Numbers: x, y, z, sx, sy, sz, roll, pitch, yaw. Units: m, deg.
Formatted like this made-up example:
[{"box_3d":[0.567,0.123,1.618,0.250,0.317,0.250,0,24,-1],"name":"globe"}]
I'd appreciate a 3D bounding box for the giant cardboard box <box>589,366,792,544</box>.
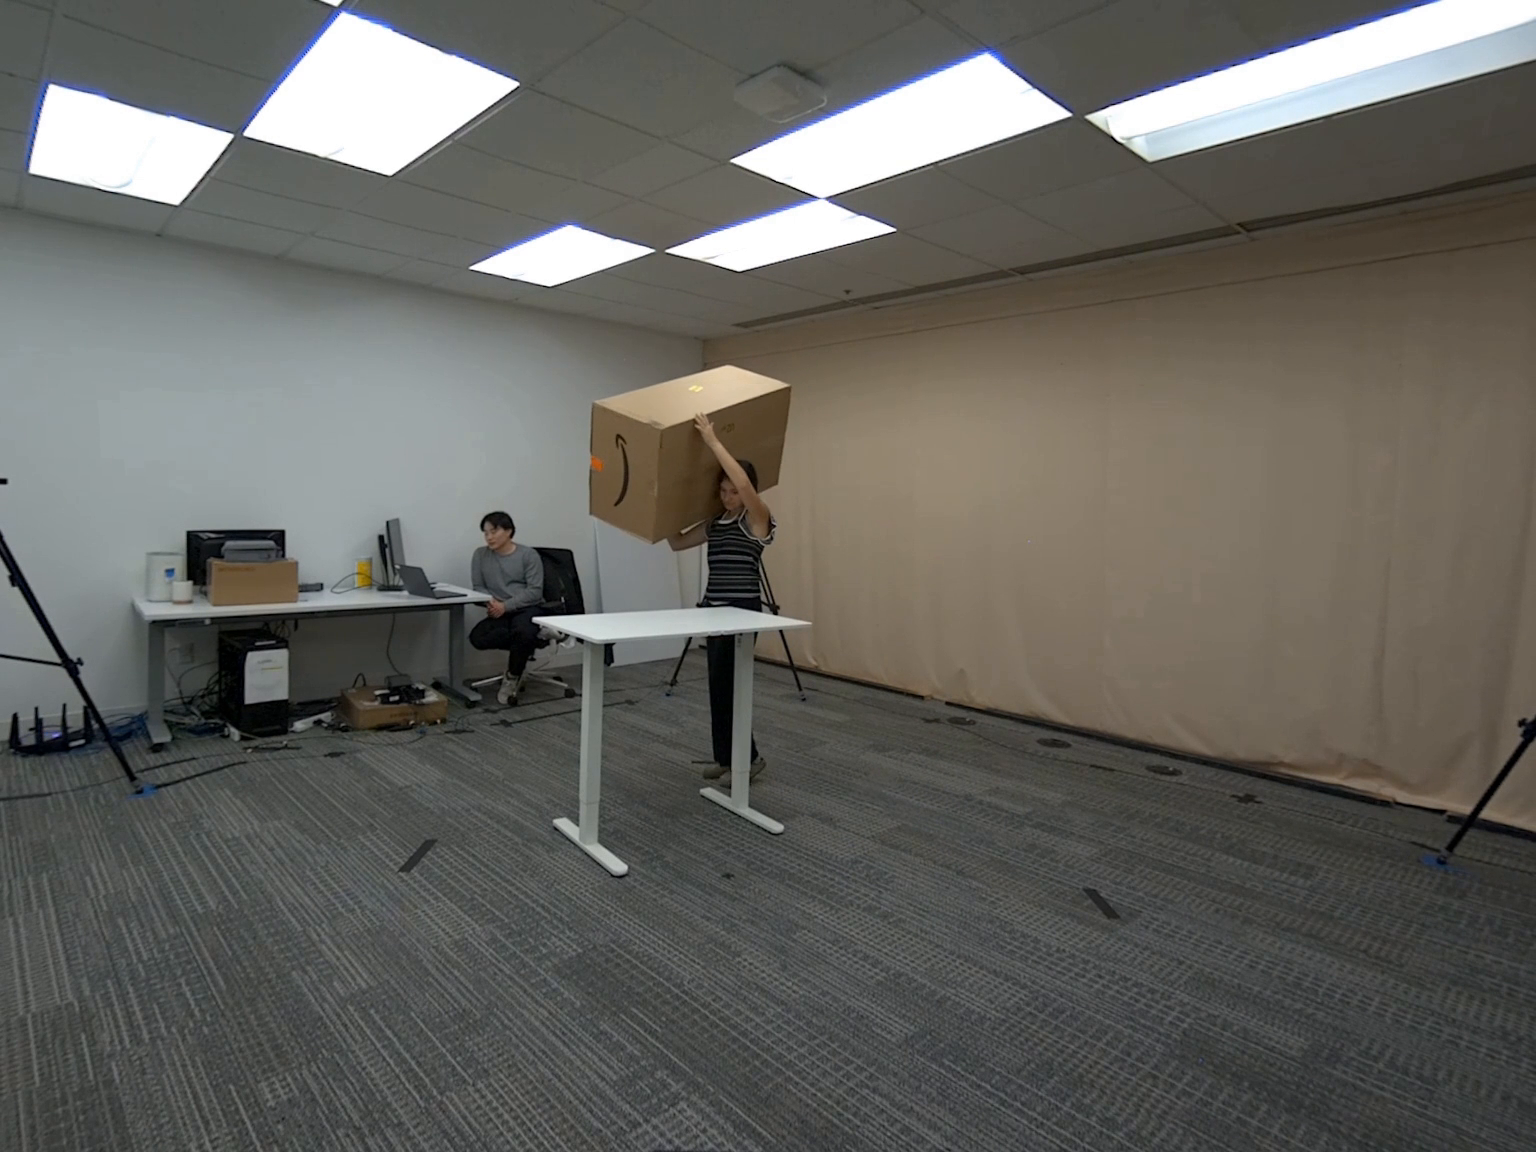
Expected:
[{"box_3d":[-0.383,-0.642,4.232,0.437,0.568,1.015,25,34,28],"name":"giant cardboard box"}]
